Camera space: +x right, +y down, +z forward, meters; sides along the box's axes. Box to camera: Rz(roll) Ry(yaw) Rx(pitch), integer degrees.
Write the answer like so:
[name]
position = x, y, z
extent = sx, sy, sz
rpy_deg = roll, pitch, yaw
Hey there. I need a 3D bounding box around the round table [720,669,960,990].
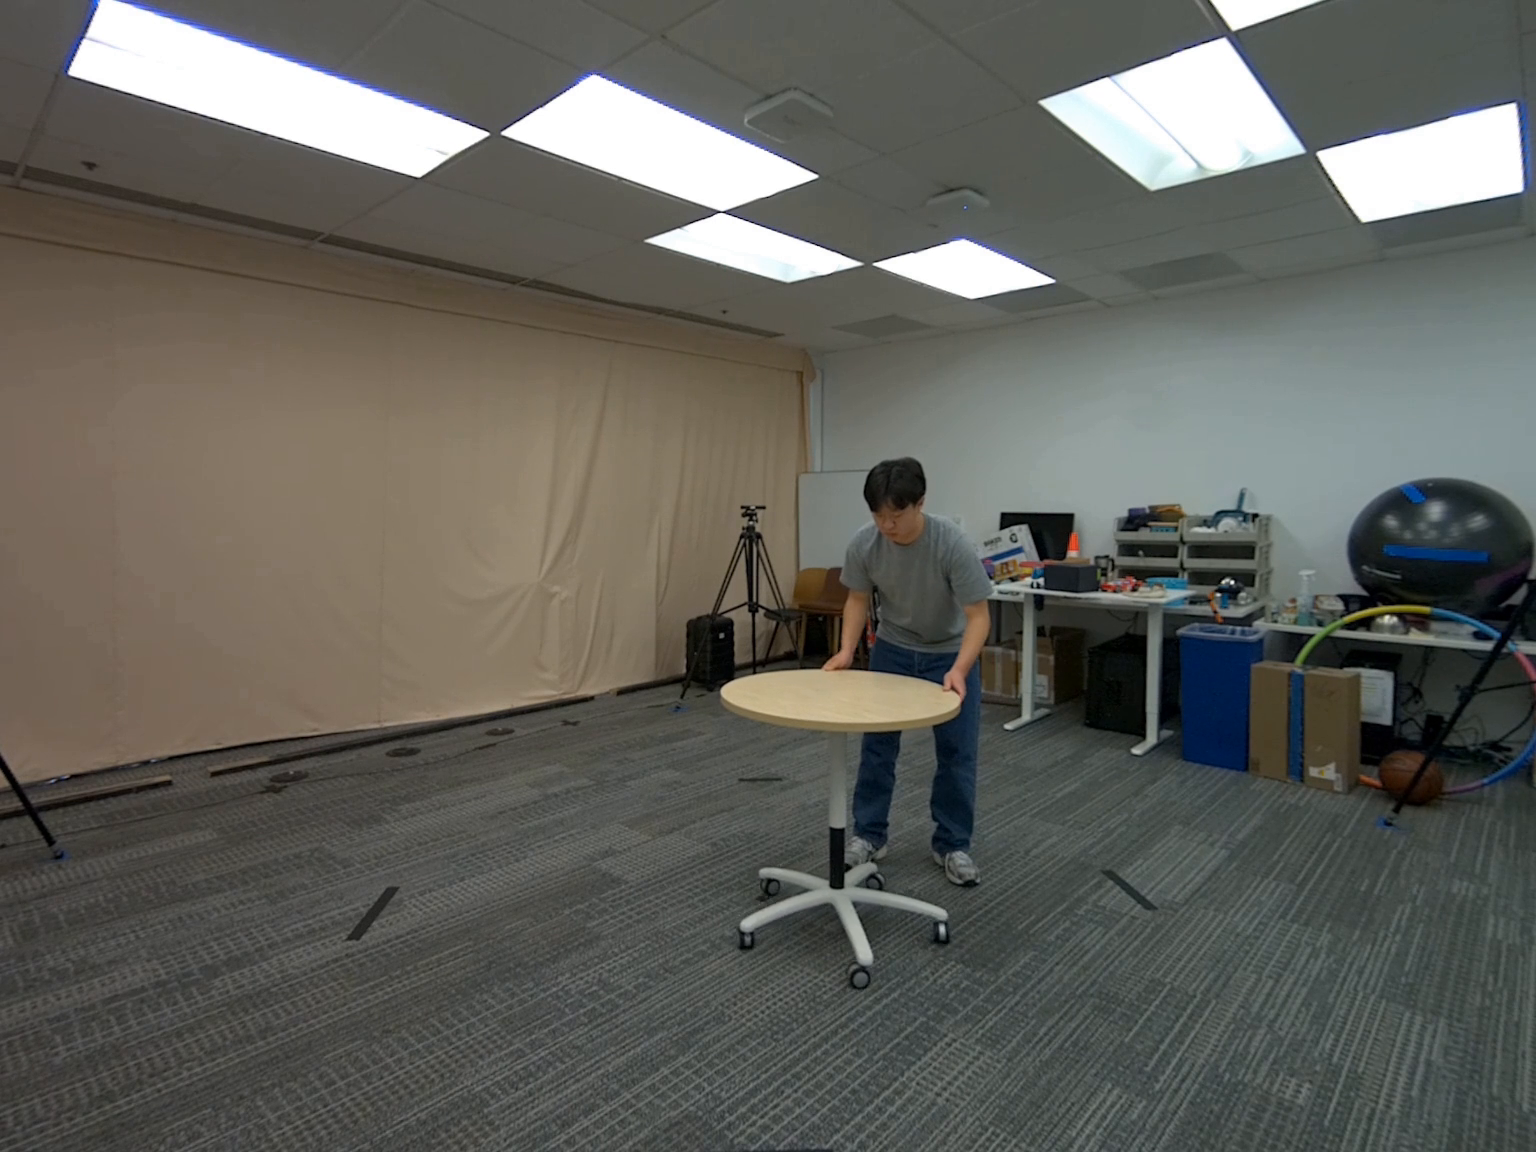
[round table]
position = 0.234, 0.773, 2.749
extent = 0.763, 0.792, 0.766
rpy_deg = 0, 3, -2
